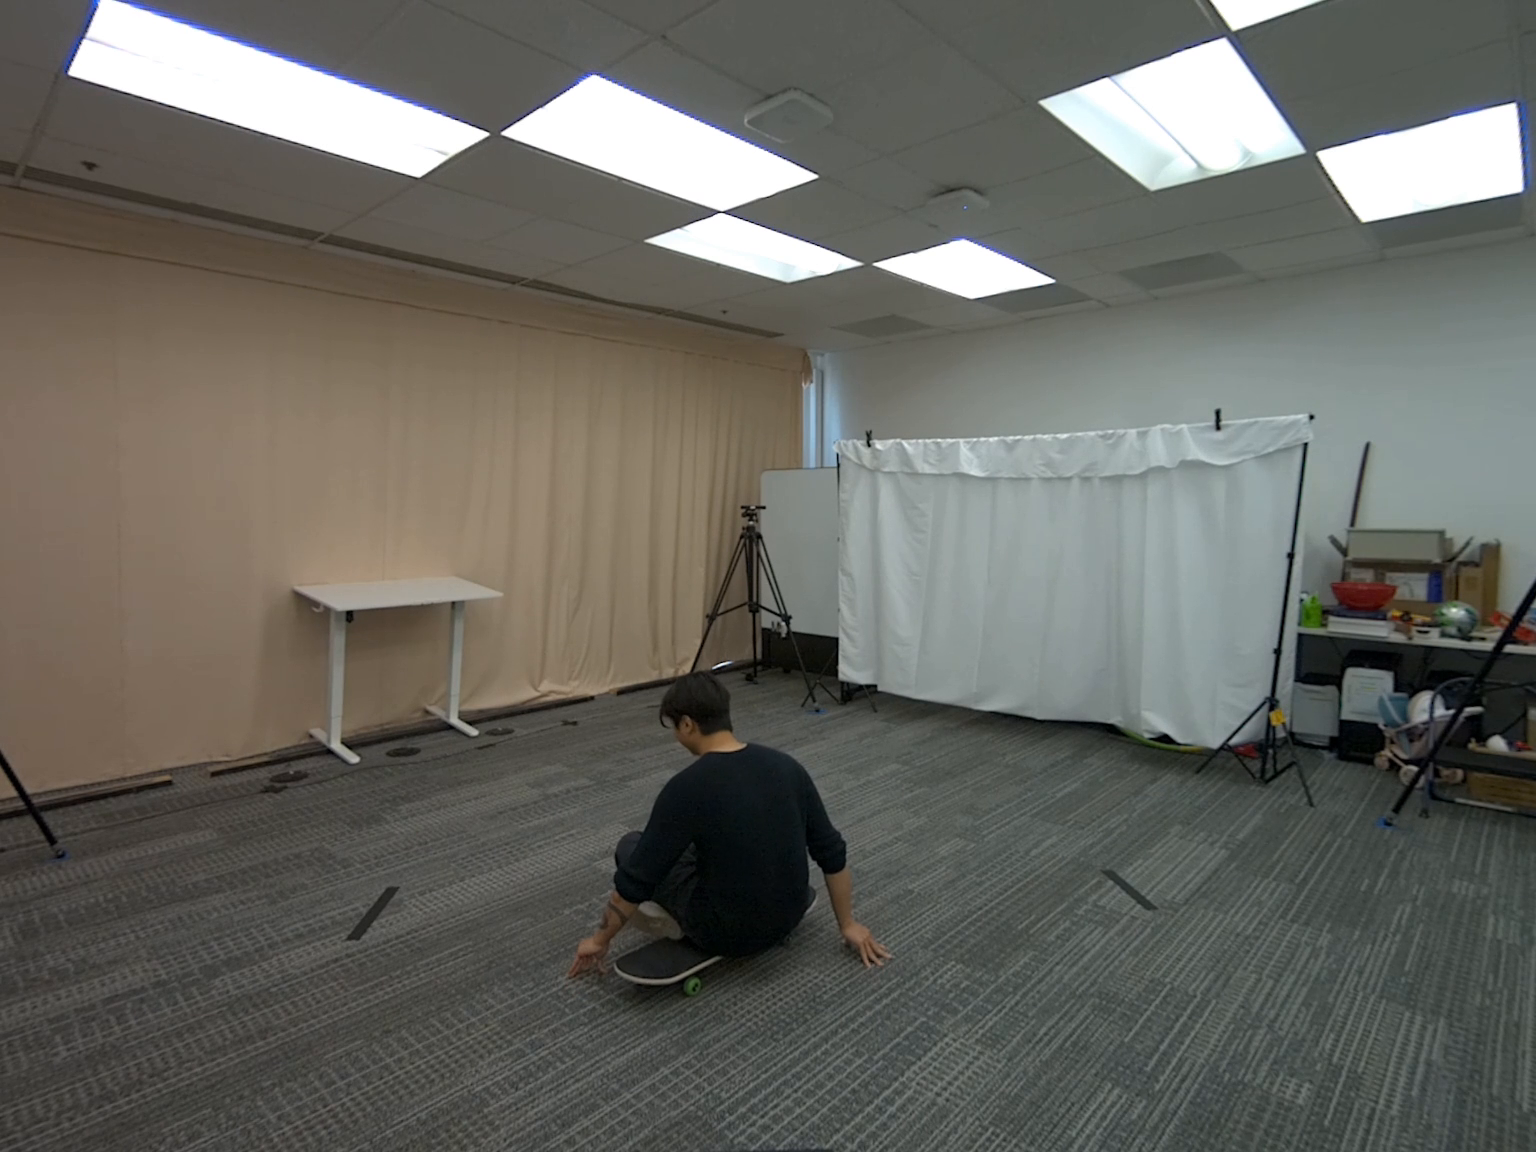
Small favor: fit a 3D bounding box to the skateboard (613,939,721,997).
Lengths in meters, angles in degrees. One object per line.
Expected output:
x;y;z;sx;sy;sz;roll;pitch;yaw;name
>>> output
-0.141;1.134;2.585;0.200;0.110;0.761;3;6;45;skateboard
